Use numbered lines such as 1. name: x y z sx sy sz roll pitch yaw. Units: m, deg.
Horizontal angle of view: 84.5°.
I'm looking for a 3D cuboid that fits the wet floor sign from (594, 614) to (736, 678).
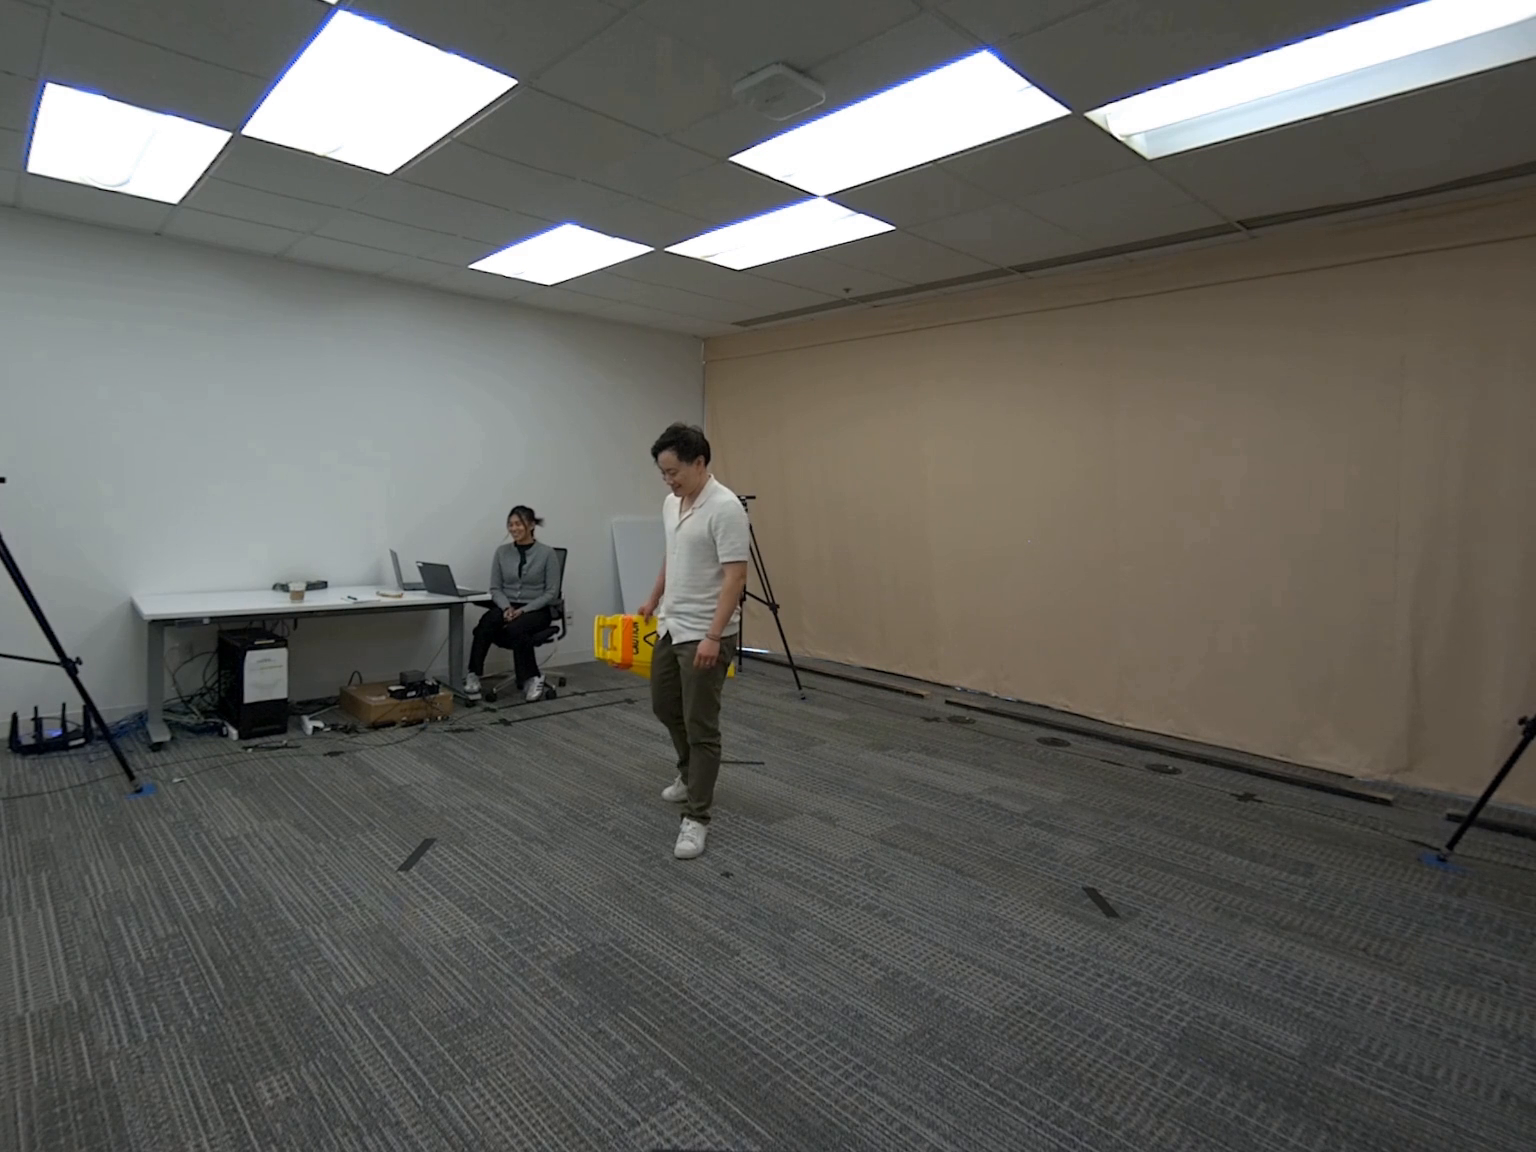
1. wet floor sign: -0.516 0.330 3.838 0.628 0.287 0.292 15 -31 -37
